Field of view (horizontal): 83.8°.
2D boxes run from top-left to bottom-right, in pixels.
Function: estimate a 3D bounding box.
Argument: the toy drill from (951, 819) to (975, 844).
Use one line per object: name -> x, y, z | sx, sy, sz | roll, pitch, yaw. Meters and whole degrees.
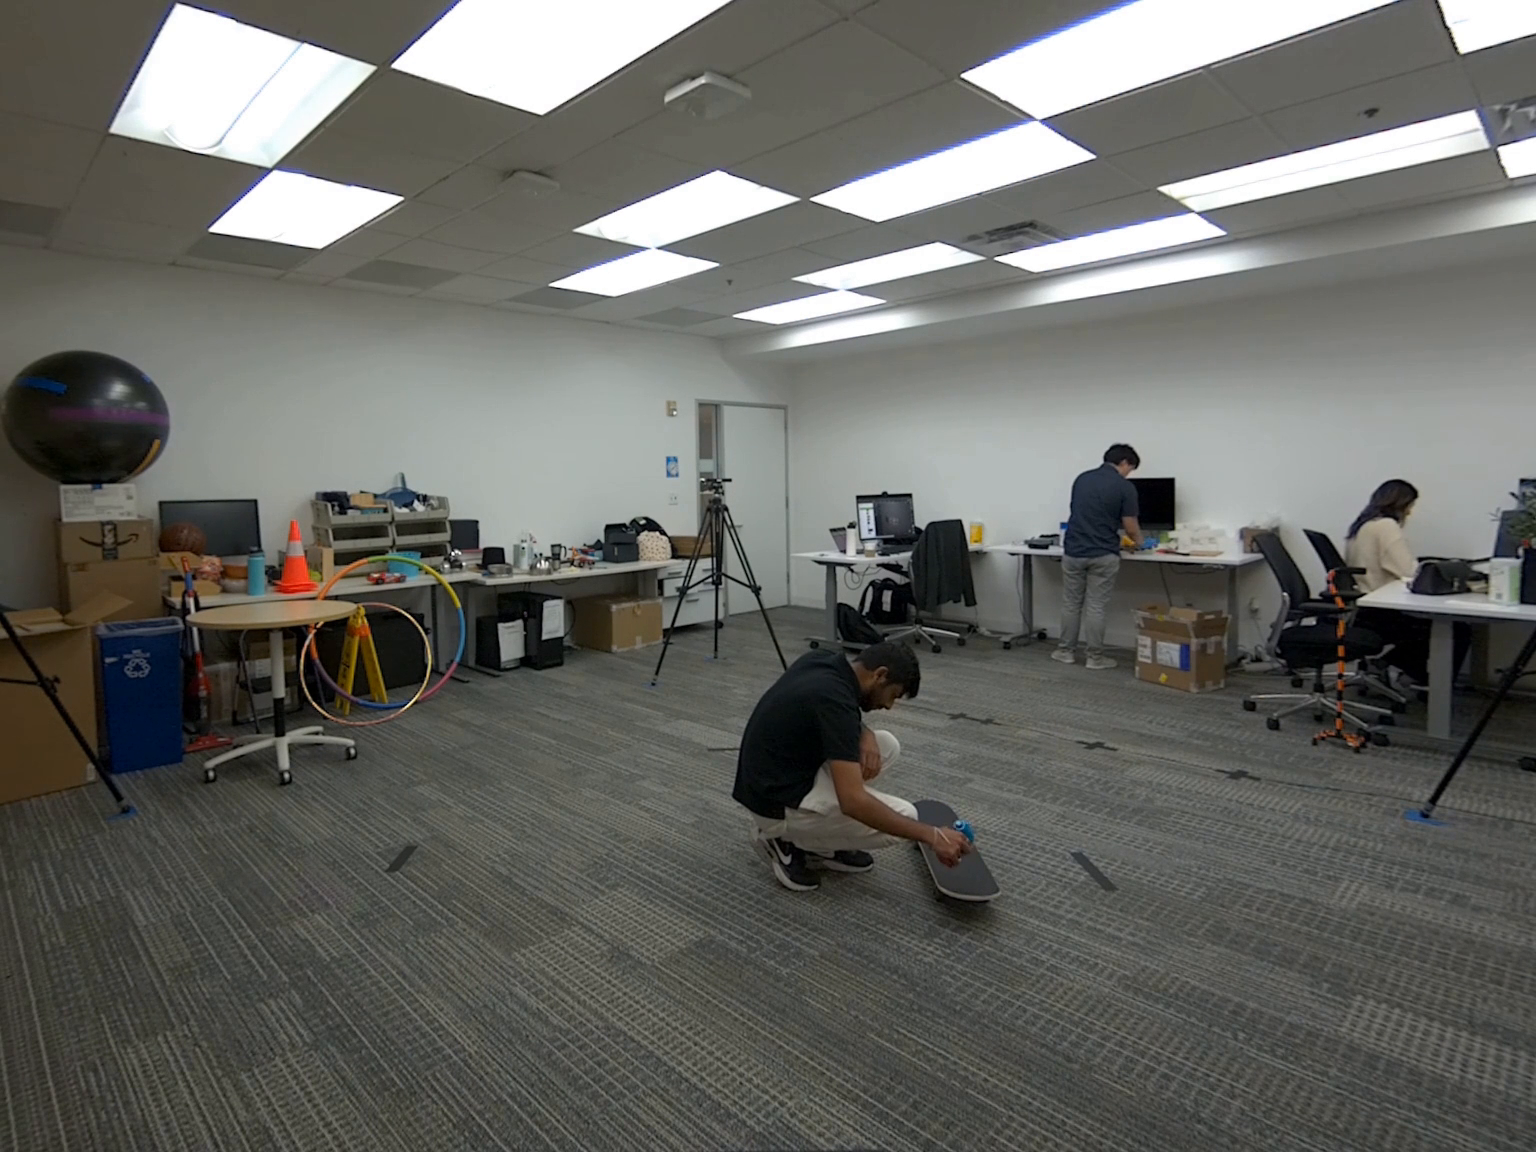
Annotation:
toy drill -> 0.606, 0.854, 2.704 | 0.063, 0.164, 0.146 | 15, 54, 47
